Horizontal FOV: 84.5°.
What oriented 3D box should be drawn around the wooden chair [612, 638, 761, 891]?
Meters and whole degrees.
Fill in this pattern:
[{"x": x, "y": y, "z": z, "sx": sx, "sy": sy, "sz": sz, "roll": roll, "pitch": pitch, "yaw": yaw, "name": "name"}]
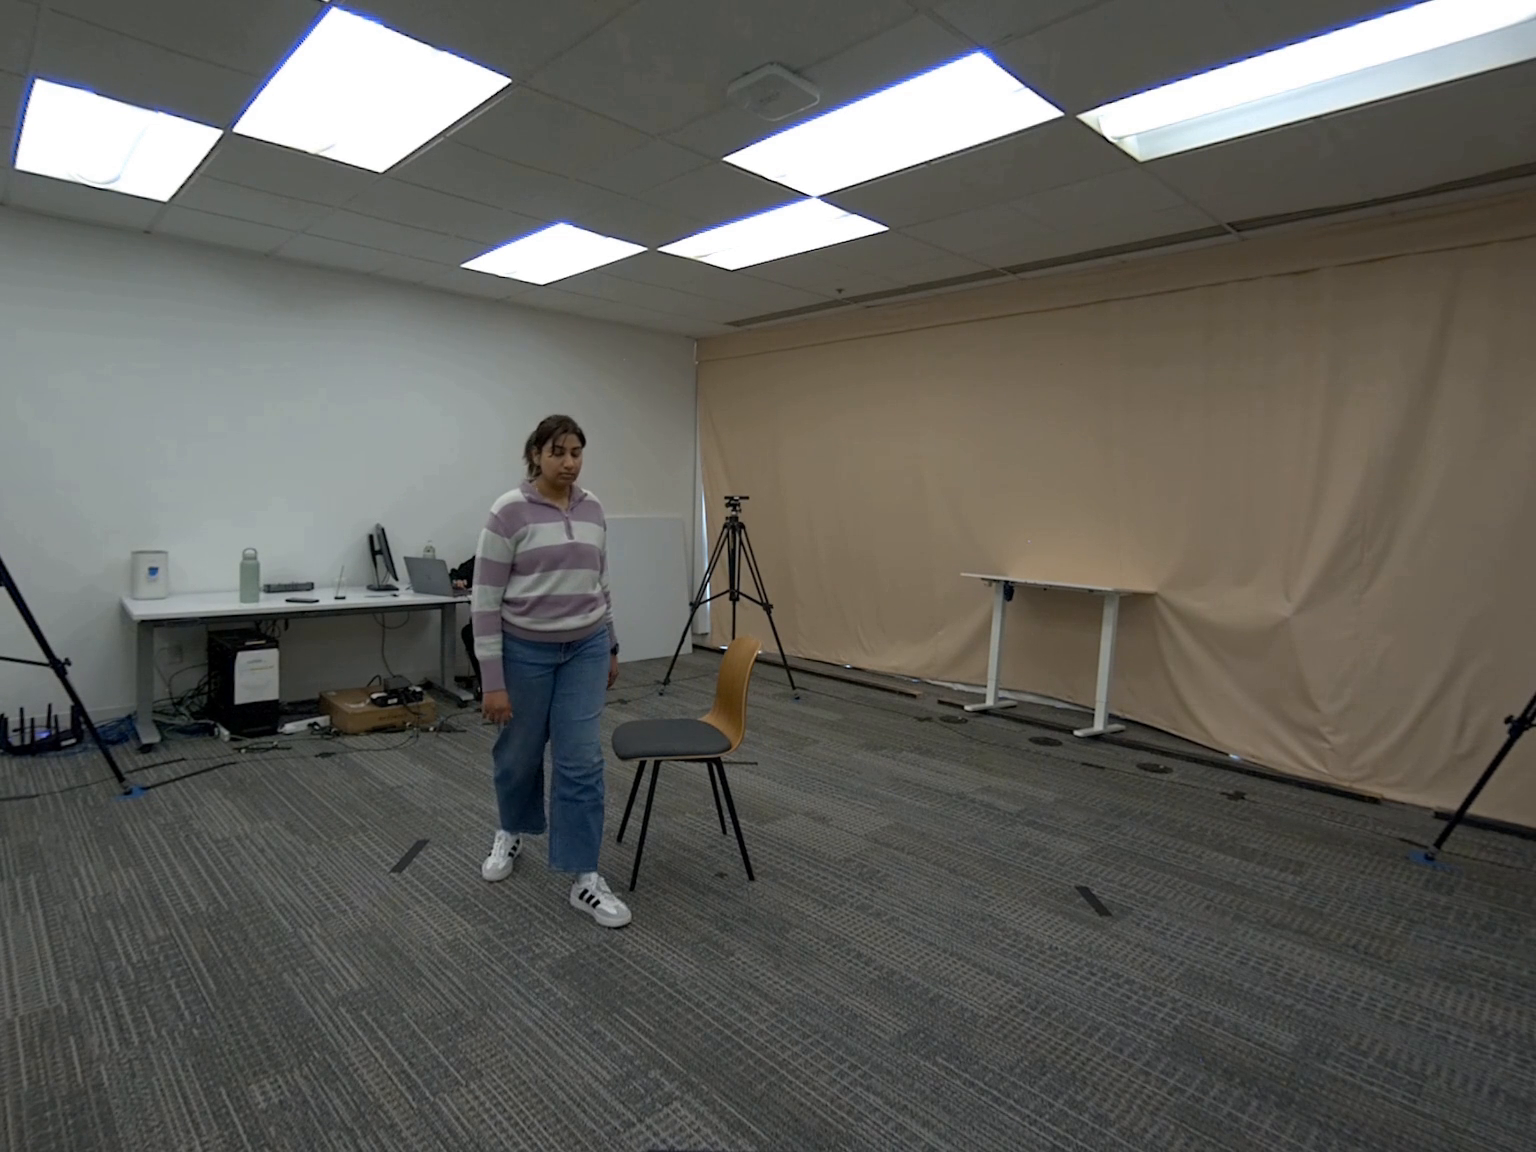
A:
[{"x": -0.328, "y": 0.665, "z": 3.191, "sx": 0.516, "sy": 0.876, "sz": 0.485, "roll": 4, "pitch": 3, "yaw": -16, "name": "wooden chair"}]
